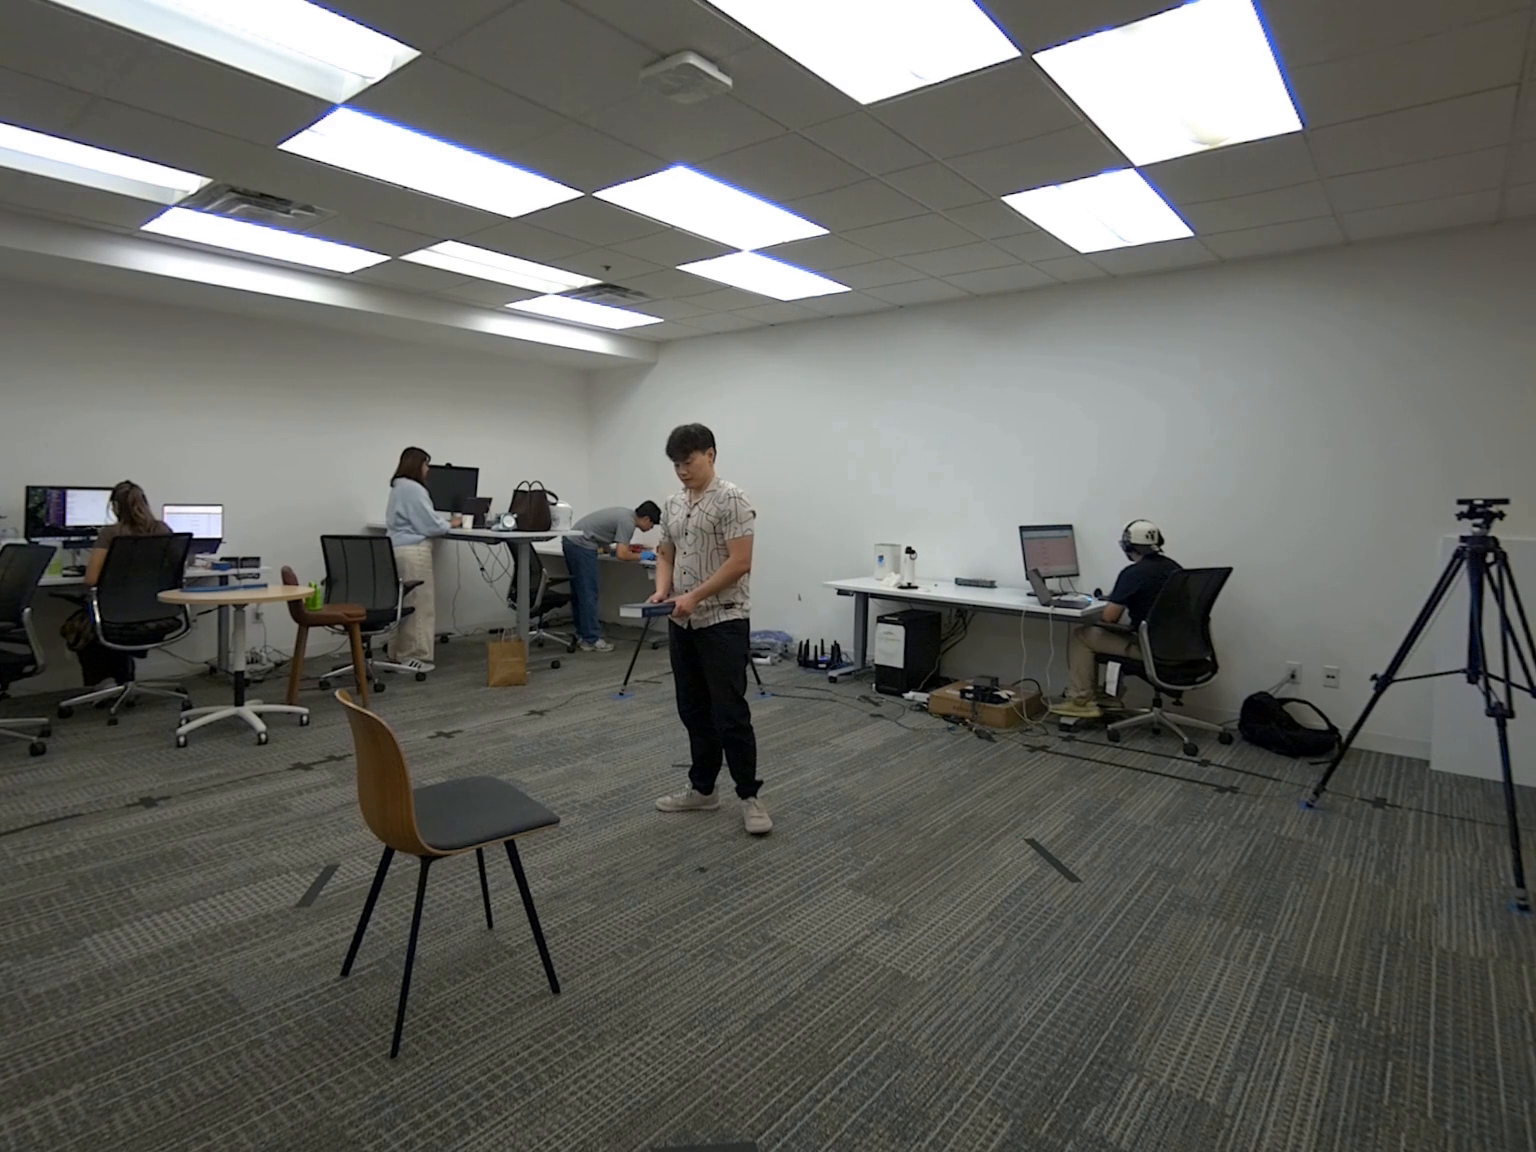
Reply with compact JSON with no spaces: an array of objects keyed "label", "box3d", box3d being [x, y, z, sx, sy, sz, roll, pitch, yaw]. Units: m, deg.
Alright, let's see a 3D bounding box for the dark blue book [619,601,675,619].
[{"label":"dark blue book","box3d":[-0.470,0.132,3.458,0.238,0.045,0.168,-3,1,-38]}]
